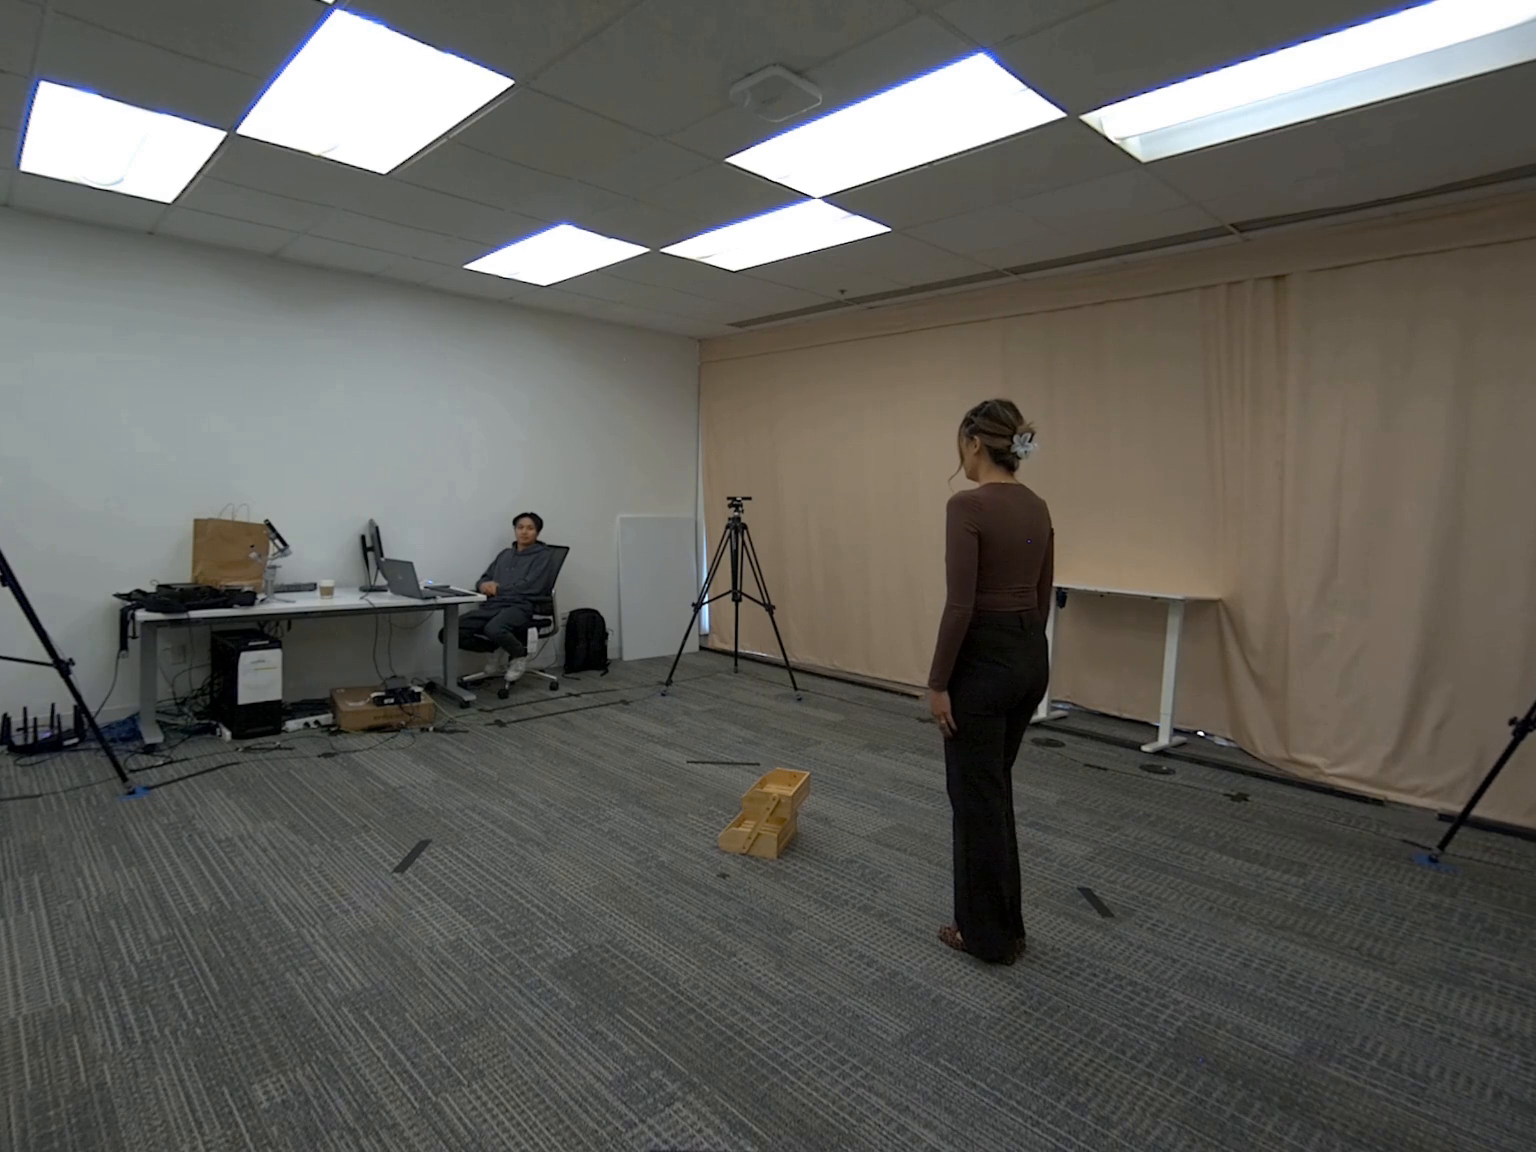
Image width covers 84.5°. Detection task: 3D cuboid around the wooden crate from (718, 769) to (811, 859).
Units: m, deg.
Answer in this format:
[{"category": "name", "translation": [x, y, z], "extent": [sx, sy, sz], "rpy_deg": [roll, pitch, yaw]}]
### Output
[{"category": "wooden crate", "translation": [-0.026, 0.947, 3.424], "extent": [0.306, 0.272, 0.320], "rpy_deg": [3, 4, 17]}]
